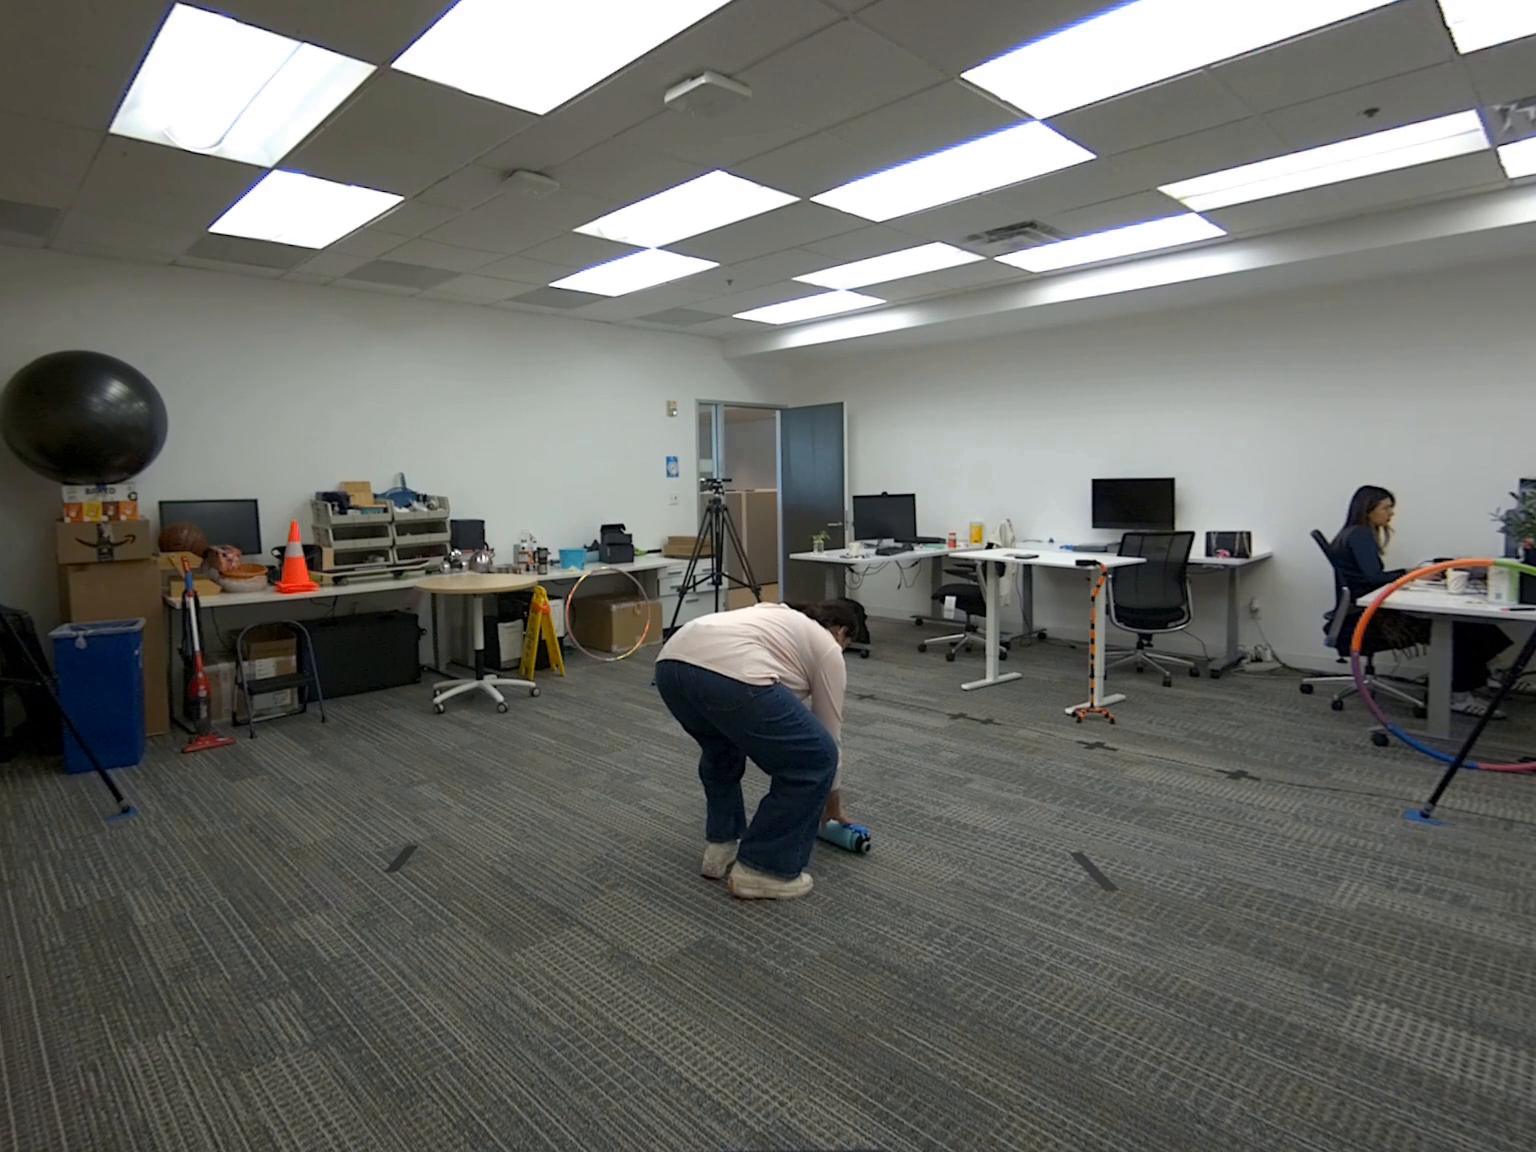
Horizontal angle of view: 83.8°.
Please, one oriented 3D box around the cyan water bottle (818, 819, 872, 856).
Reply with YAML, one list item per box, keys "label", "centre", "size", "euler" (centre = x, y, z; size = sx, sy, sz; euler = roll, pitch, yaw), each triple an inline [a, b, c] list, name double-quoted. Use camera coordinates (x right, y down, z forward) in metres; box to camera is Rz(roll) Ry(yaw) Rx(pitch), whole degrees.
- label: "cyan water bottle"
  centre: [0.268, 0.970, 3.258]
  size: [0.090, 0.092, 0.292]
  euler: [-5, 7, -41]
